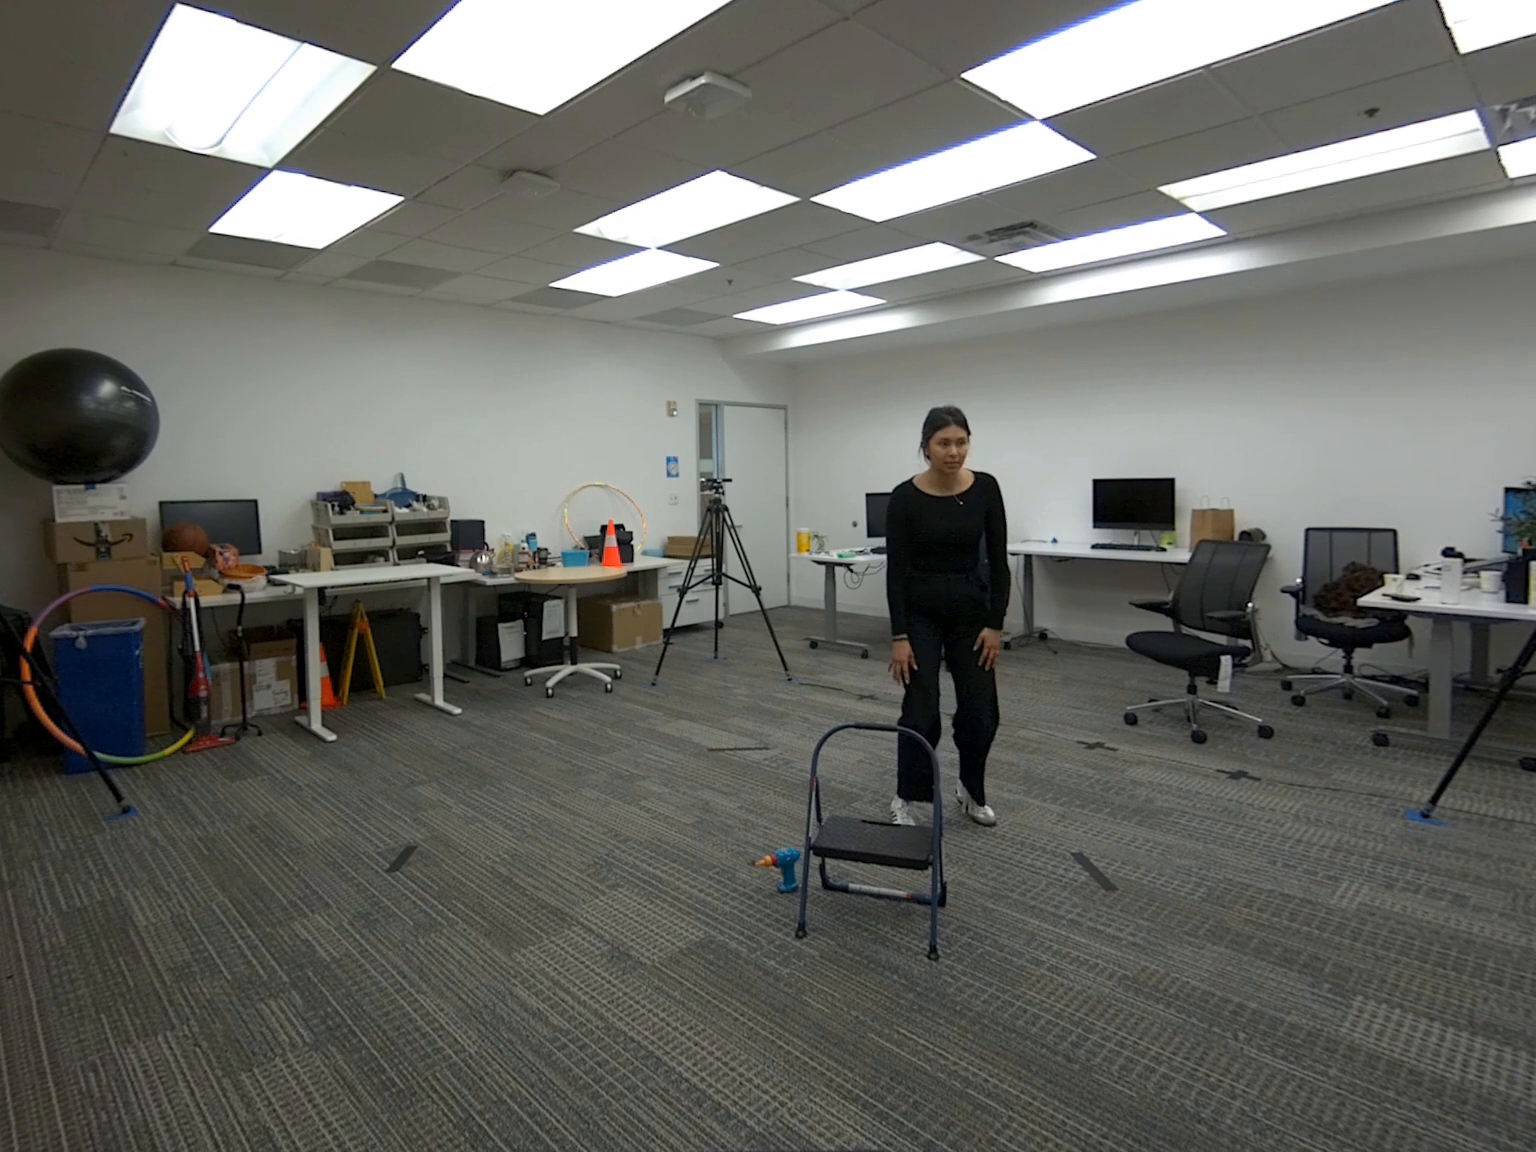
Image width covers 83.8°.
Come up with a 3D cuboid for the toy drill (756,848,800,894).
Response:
[{"bbox_3d":[0.040,1.000,2.888,0.166,0.145,0.062,-5,4,-23],"label":"toy drill"}]
